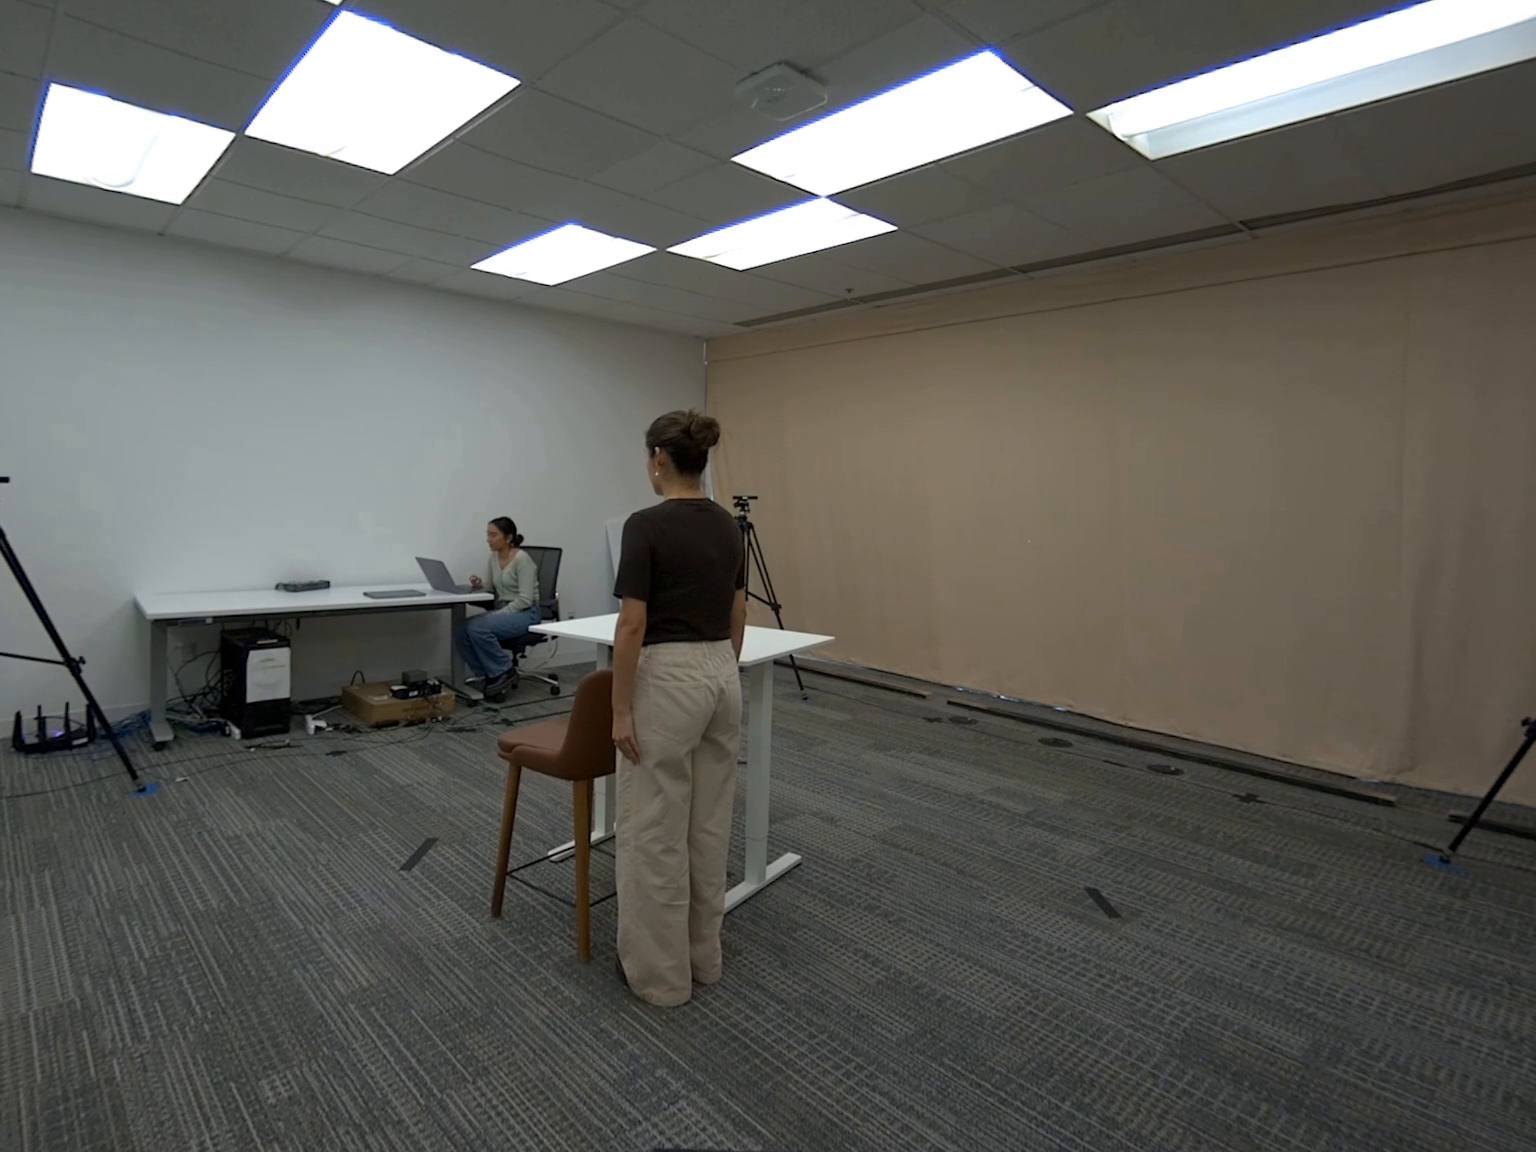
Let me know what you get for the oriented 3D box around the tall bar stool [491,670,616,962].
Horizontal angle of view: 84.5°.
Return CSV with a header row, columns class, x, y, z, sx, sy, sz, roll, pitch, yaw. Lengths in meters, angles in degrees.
class,x,y,z,sx,sy,sz,roll,pitch,yaw
tall bar stool,-0.599,0.693,2.742,0.479,0.886,0.447,6,7,38
